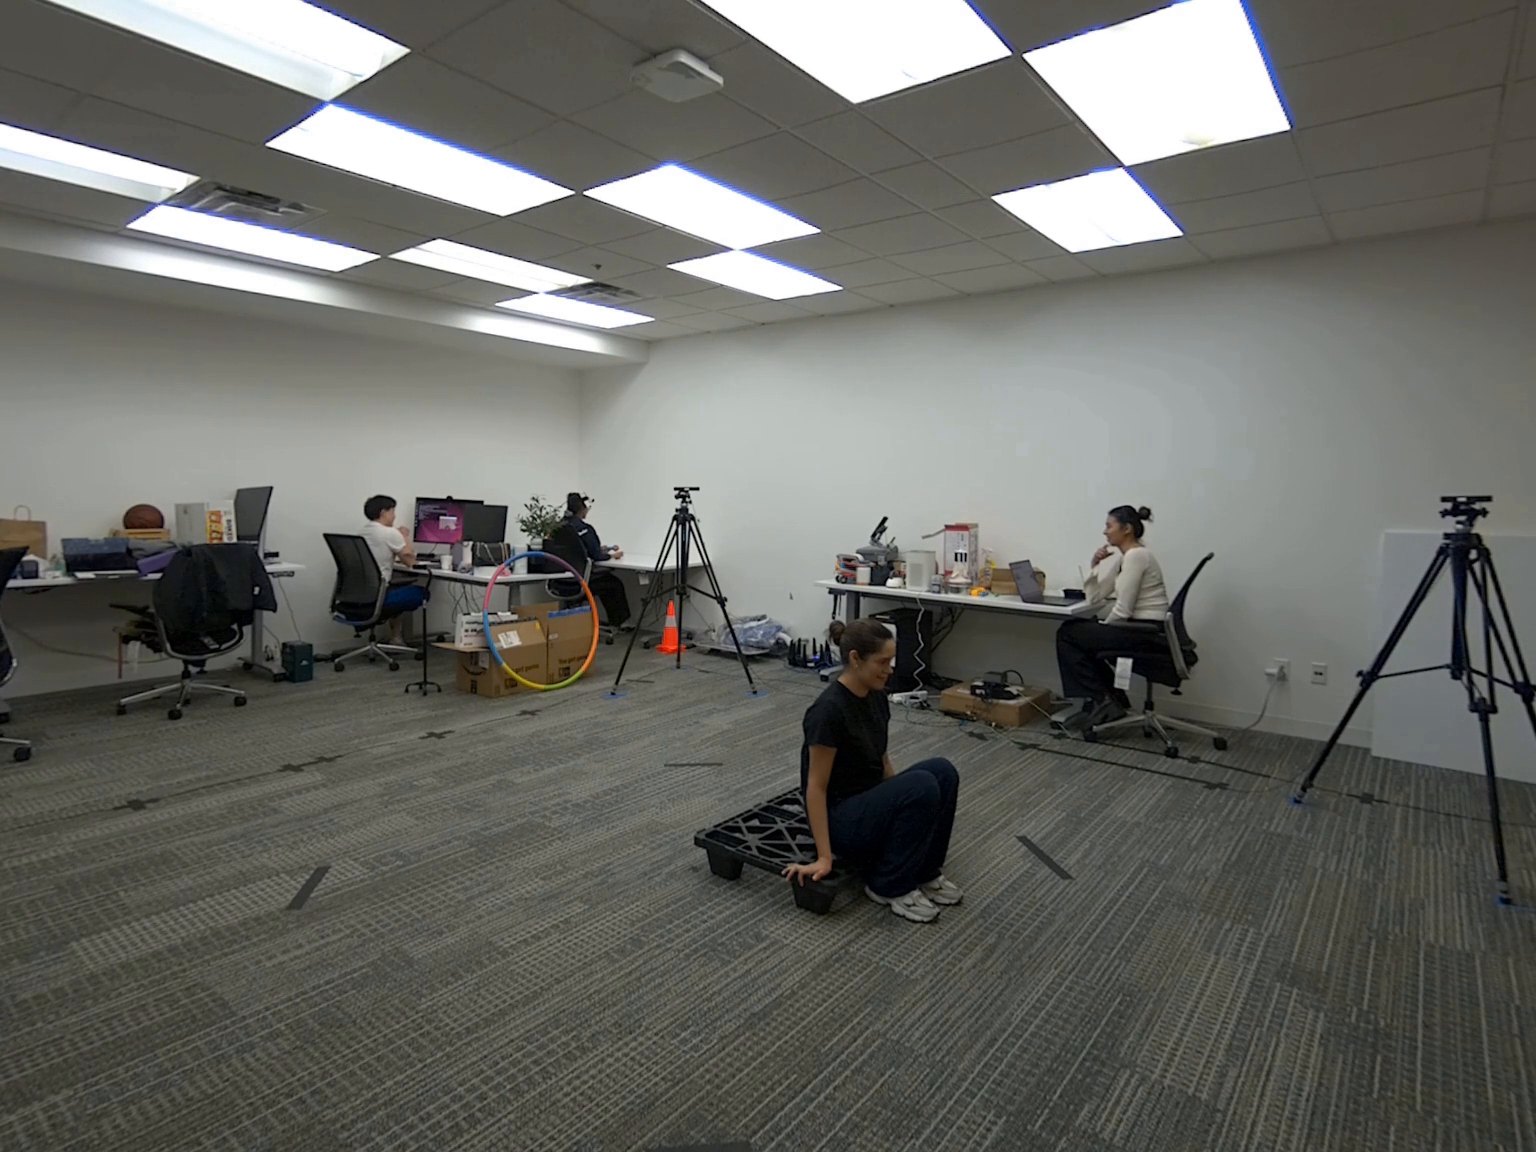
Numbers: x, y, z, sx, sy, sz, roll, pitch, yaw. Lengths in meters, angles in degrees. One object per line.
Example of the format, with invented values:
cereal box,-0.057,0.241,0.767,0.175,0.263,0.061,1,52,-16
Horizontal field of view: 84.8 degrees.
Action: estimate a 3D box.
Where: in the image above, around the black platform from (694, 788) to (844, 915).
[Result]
black platform,0.203,0.995,3.212,0.625,0.143,0.782,5,6,38
